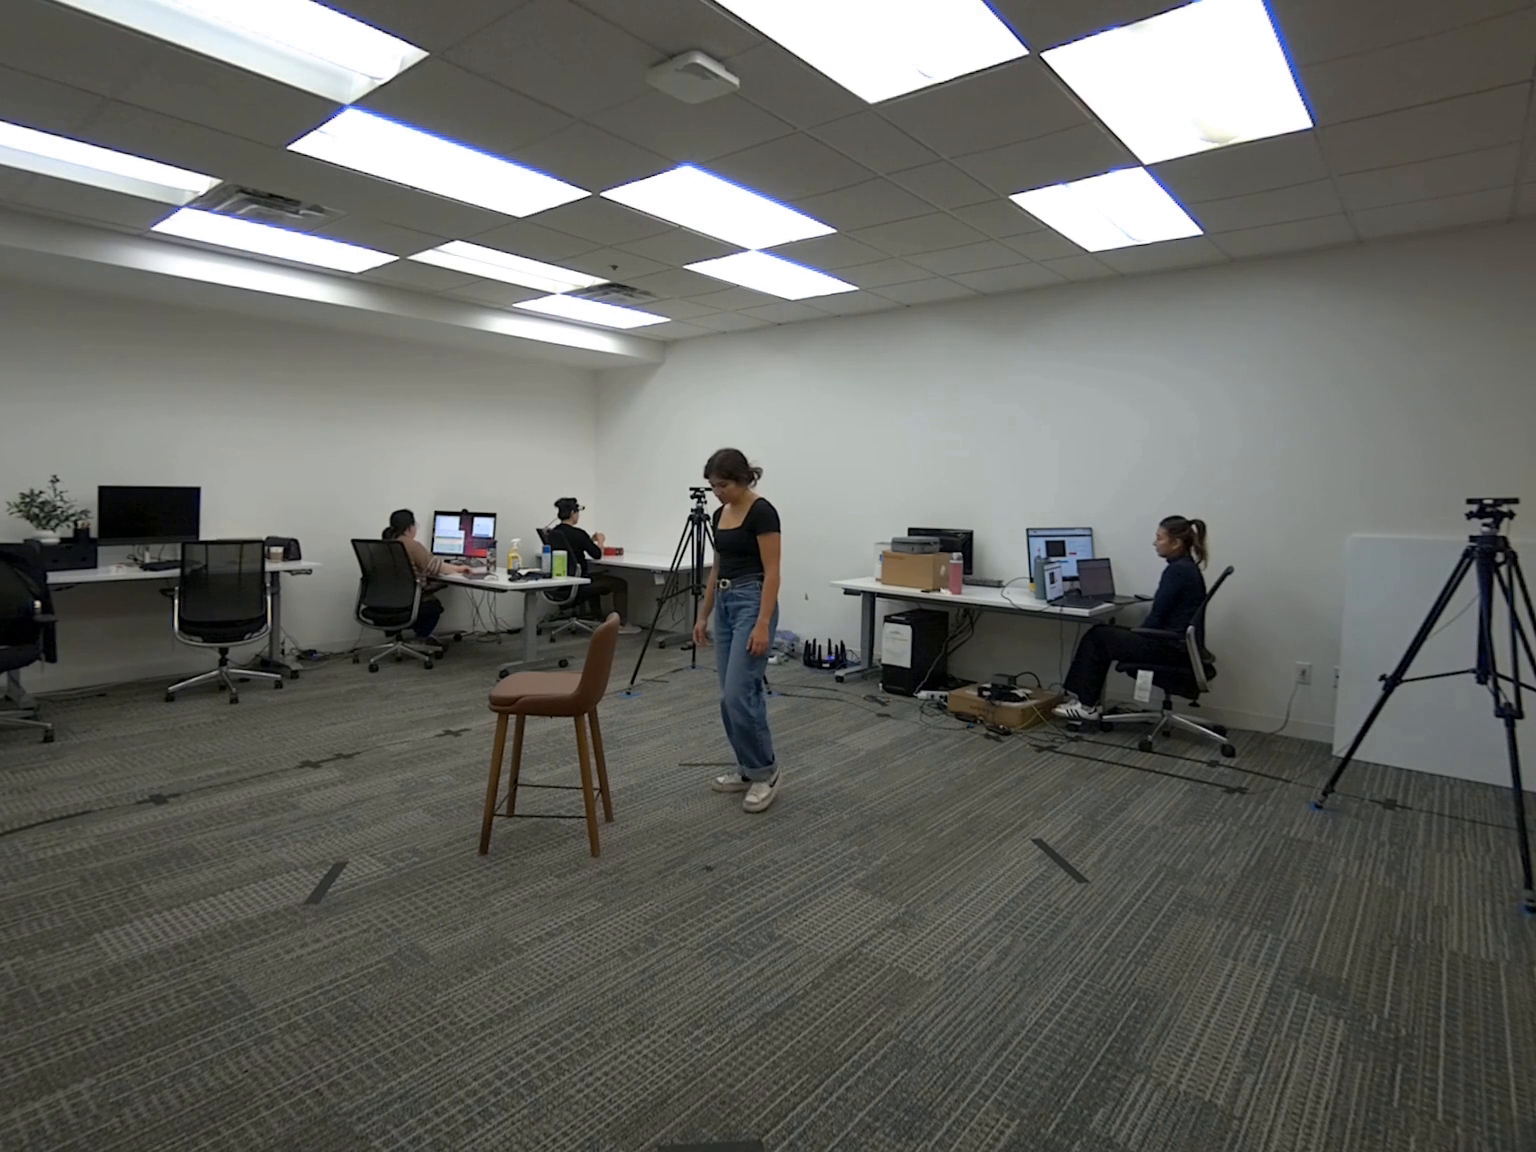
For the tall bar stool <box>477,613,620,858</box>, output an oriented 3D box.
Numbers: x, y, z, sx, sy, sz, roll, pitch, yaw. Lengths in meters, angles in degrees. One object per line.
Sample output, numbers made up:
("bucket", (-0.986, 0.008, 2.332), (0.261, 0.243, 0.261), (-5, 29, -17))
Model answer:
("tall bar stool", (-0.867, 0.597, 3.362), (0.468, 0.888, 0.457), (3, 3, 0))
